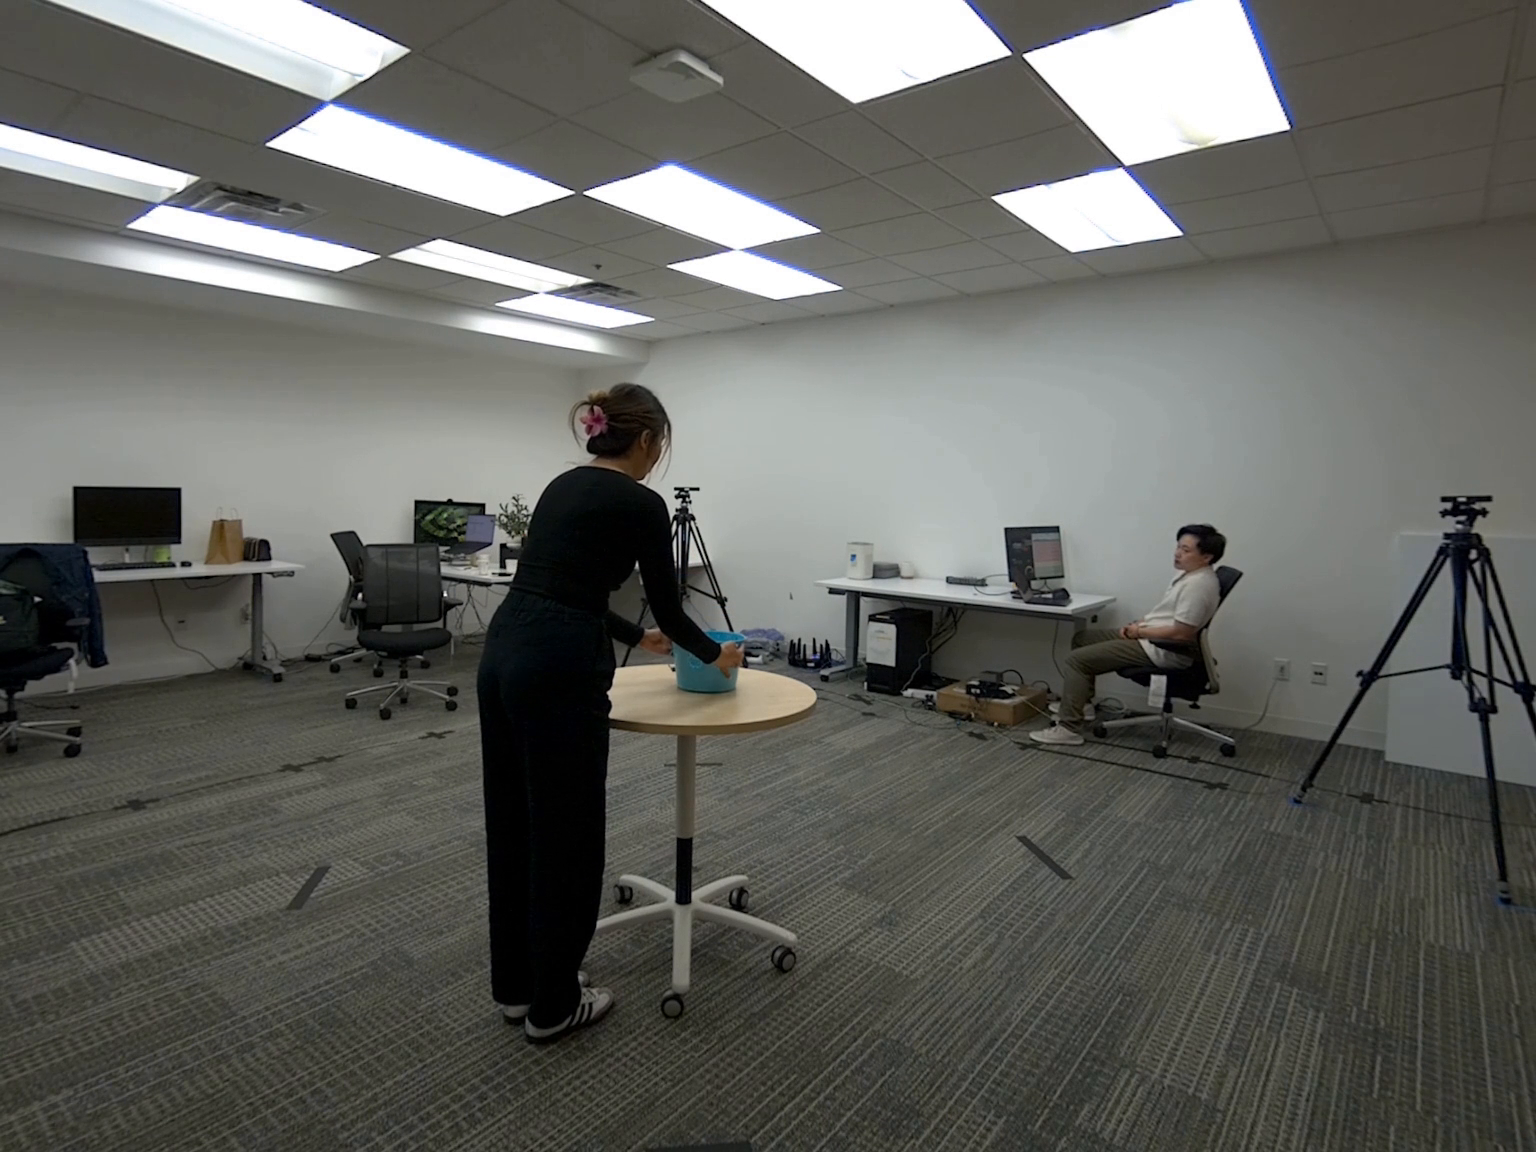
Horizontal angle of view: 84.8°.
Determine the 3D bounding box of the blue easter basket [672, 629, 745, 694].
[{"bbox_3d":[-0.194,0.258,2.590,0.243,0.155,0.245,1,5,-2],"label":"blue easter basket"}]
